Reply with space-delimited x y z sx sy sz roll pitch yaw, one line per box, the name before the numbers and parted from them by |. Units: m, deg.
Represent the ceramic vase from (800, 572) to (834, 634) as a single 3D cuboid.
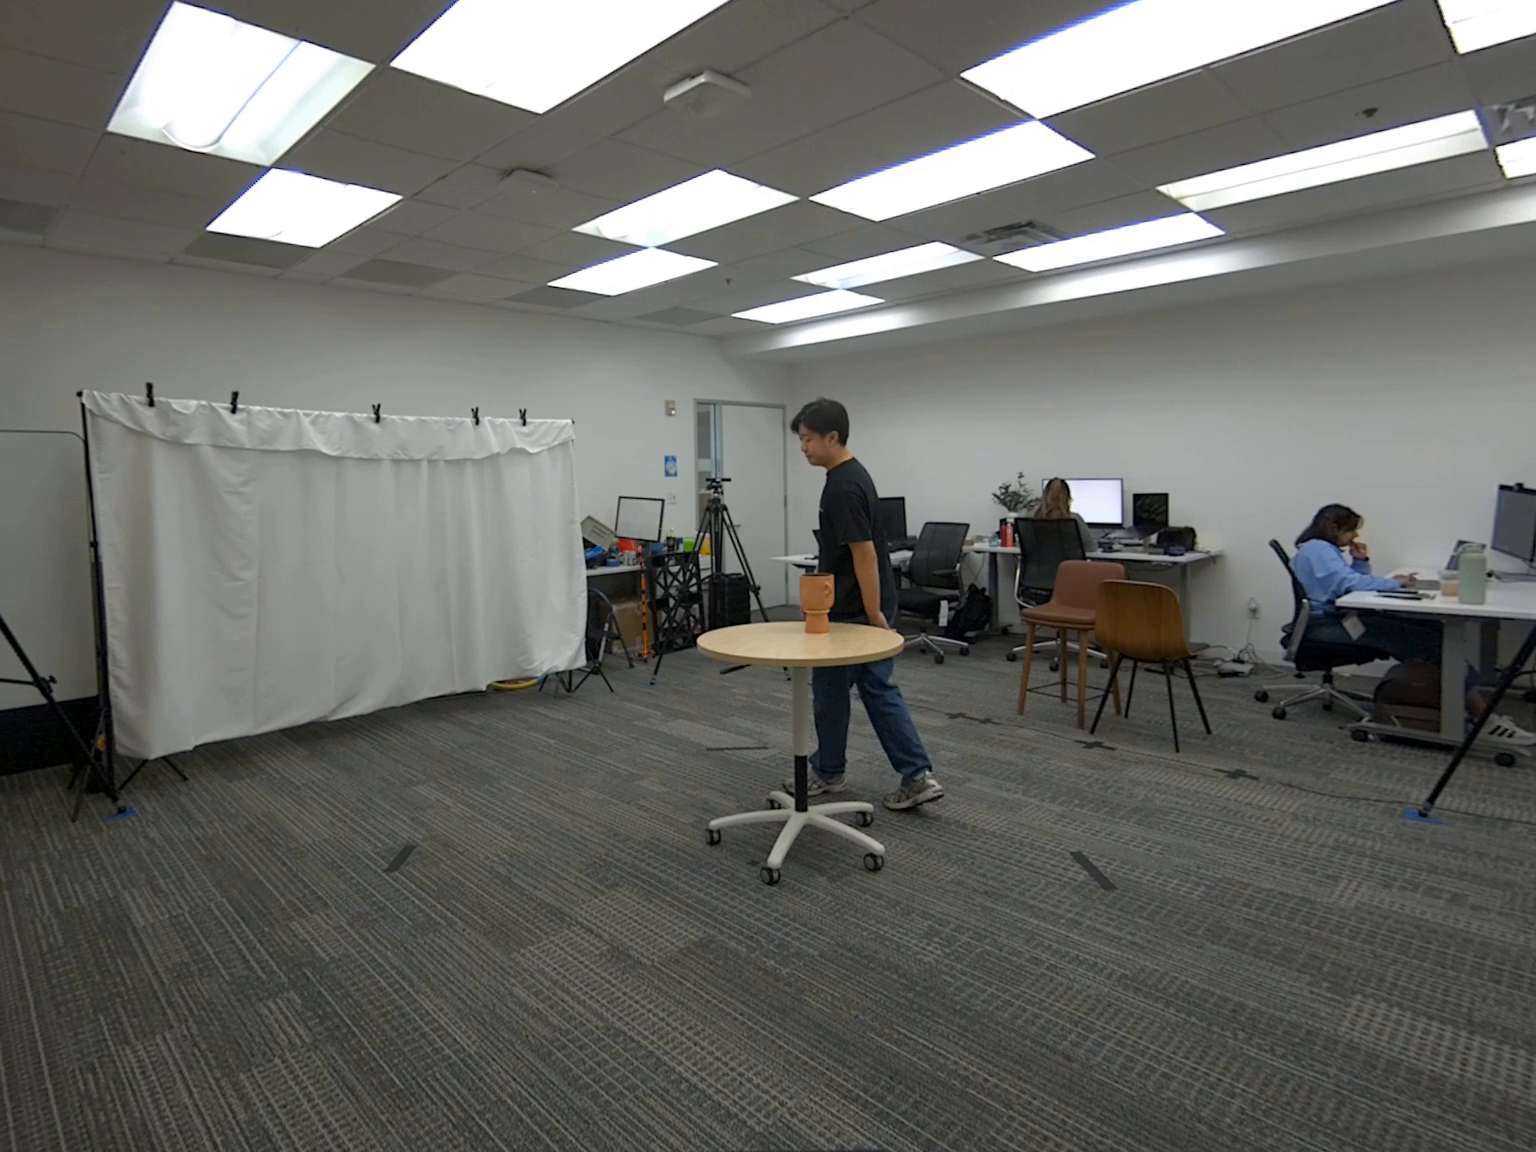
ceramic vase | 0.191 0.108 3.331 0.136 0.219 0.158 -1 4 9
